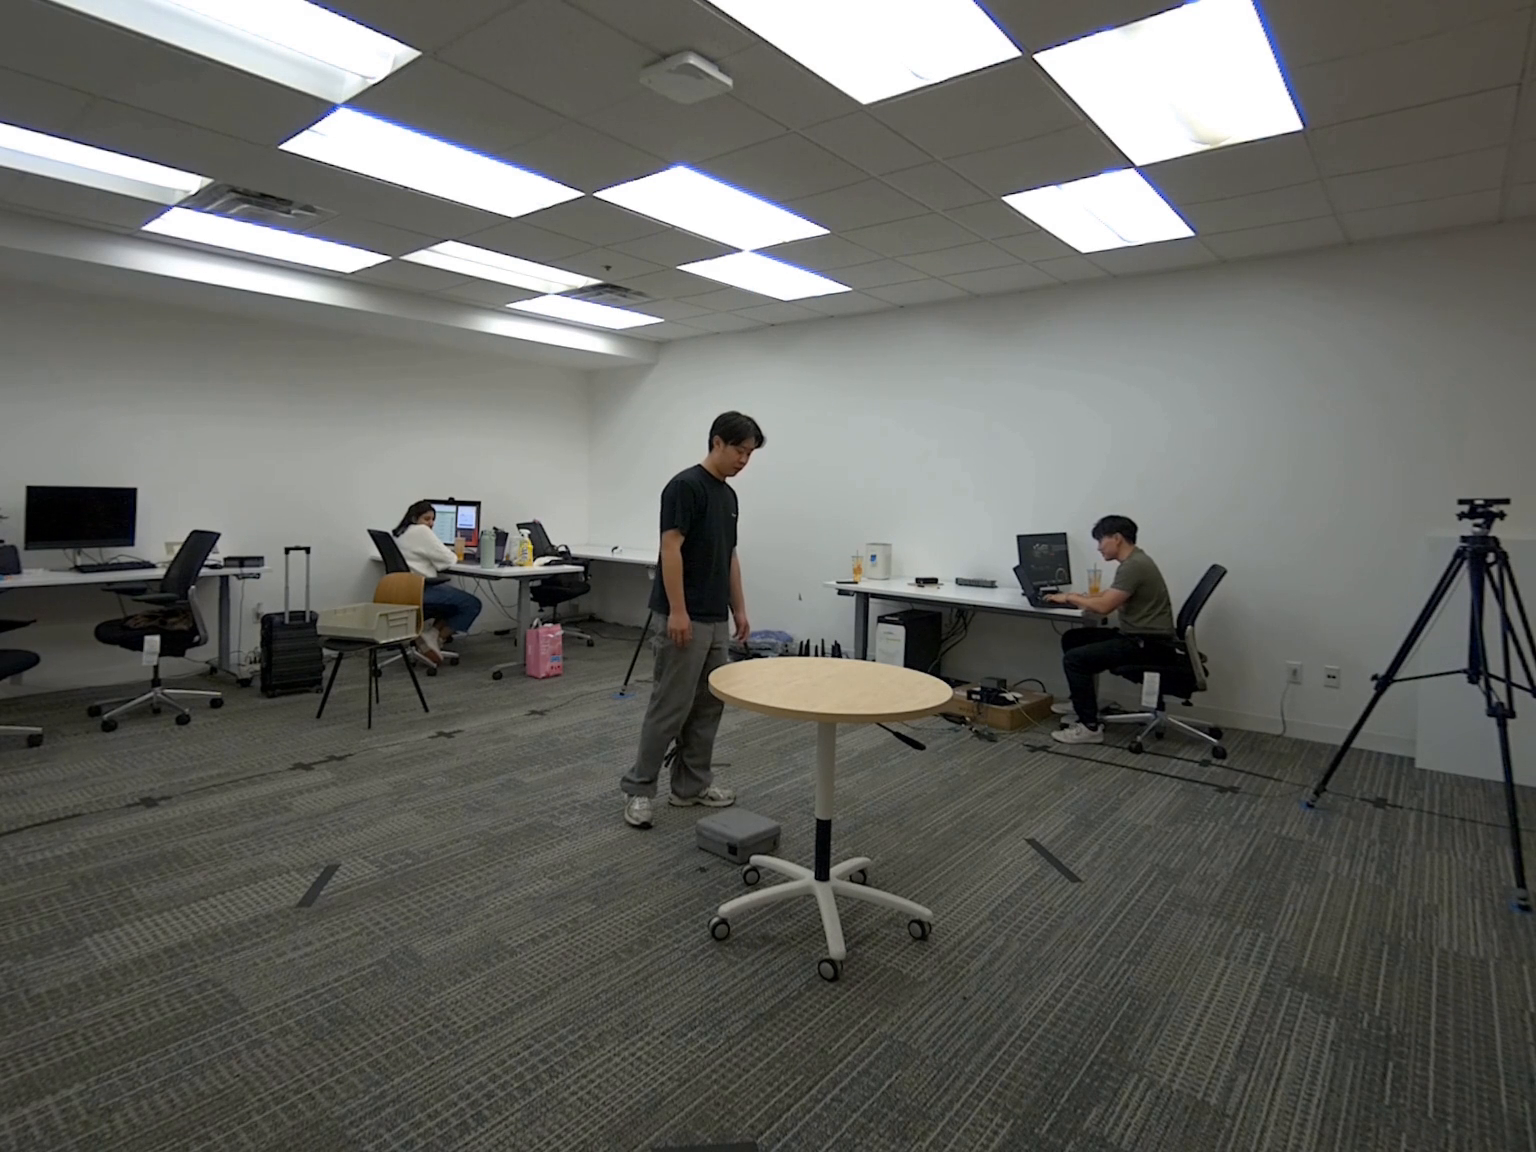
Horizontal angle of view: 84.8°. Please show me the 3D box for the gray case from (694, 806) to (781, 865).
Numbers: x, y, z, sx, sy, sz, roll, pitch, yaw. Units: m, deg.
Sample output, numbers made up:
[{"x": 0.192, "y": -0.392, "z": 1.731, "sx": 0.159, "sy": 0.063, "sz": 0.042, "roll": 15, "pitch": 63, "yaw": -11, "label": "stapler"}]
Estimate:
[{"x": -0.120, "y": 0.996, "z": 3.312, "sx": 0.272, "sy": 0.103, "sz": 0.278, "roll": 6, "pitch": 6, "yaw": 41, "label": "gray case"}]
